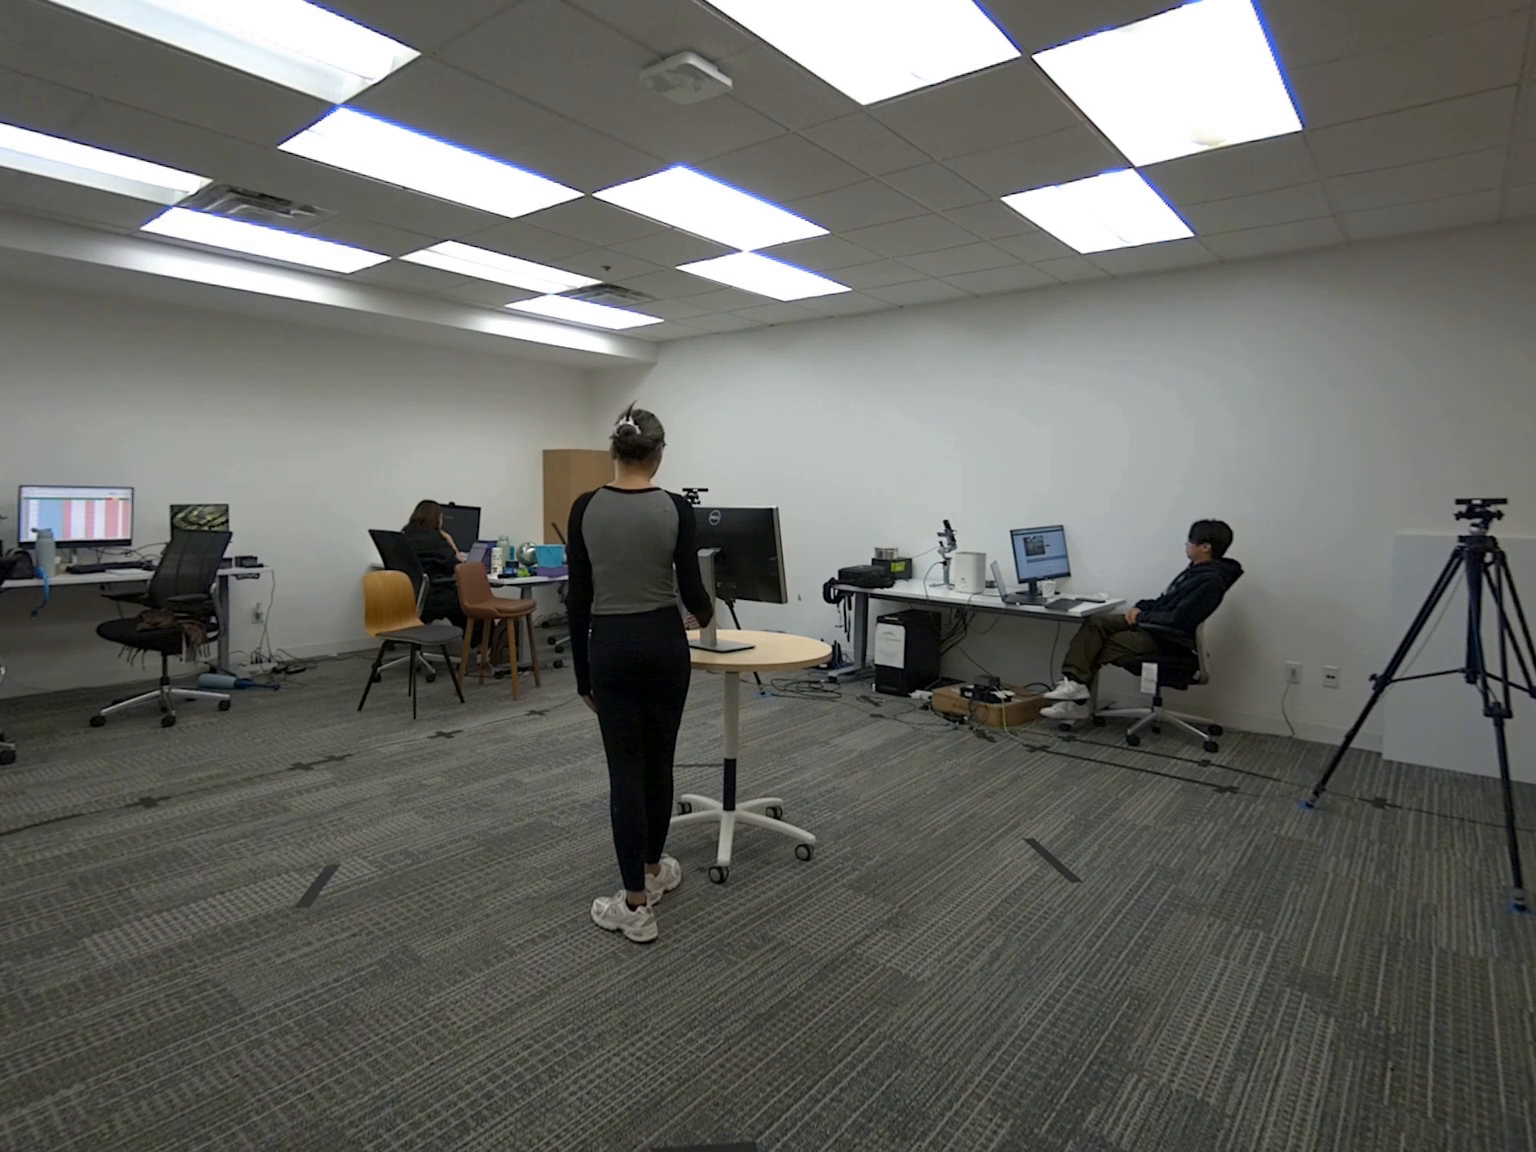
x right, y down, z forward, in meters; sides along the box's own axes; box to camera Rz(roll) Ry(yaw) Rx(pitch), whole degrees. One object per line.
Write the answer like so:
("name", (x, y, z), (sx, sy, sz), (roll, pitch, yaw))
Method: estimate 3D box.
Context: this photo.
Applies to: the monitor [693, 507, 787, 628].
("monitor", (-0.202, 0.003, 3.250), (0.557, 0.522, 0.181), (4, 2, 39))
